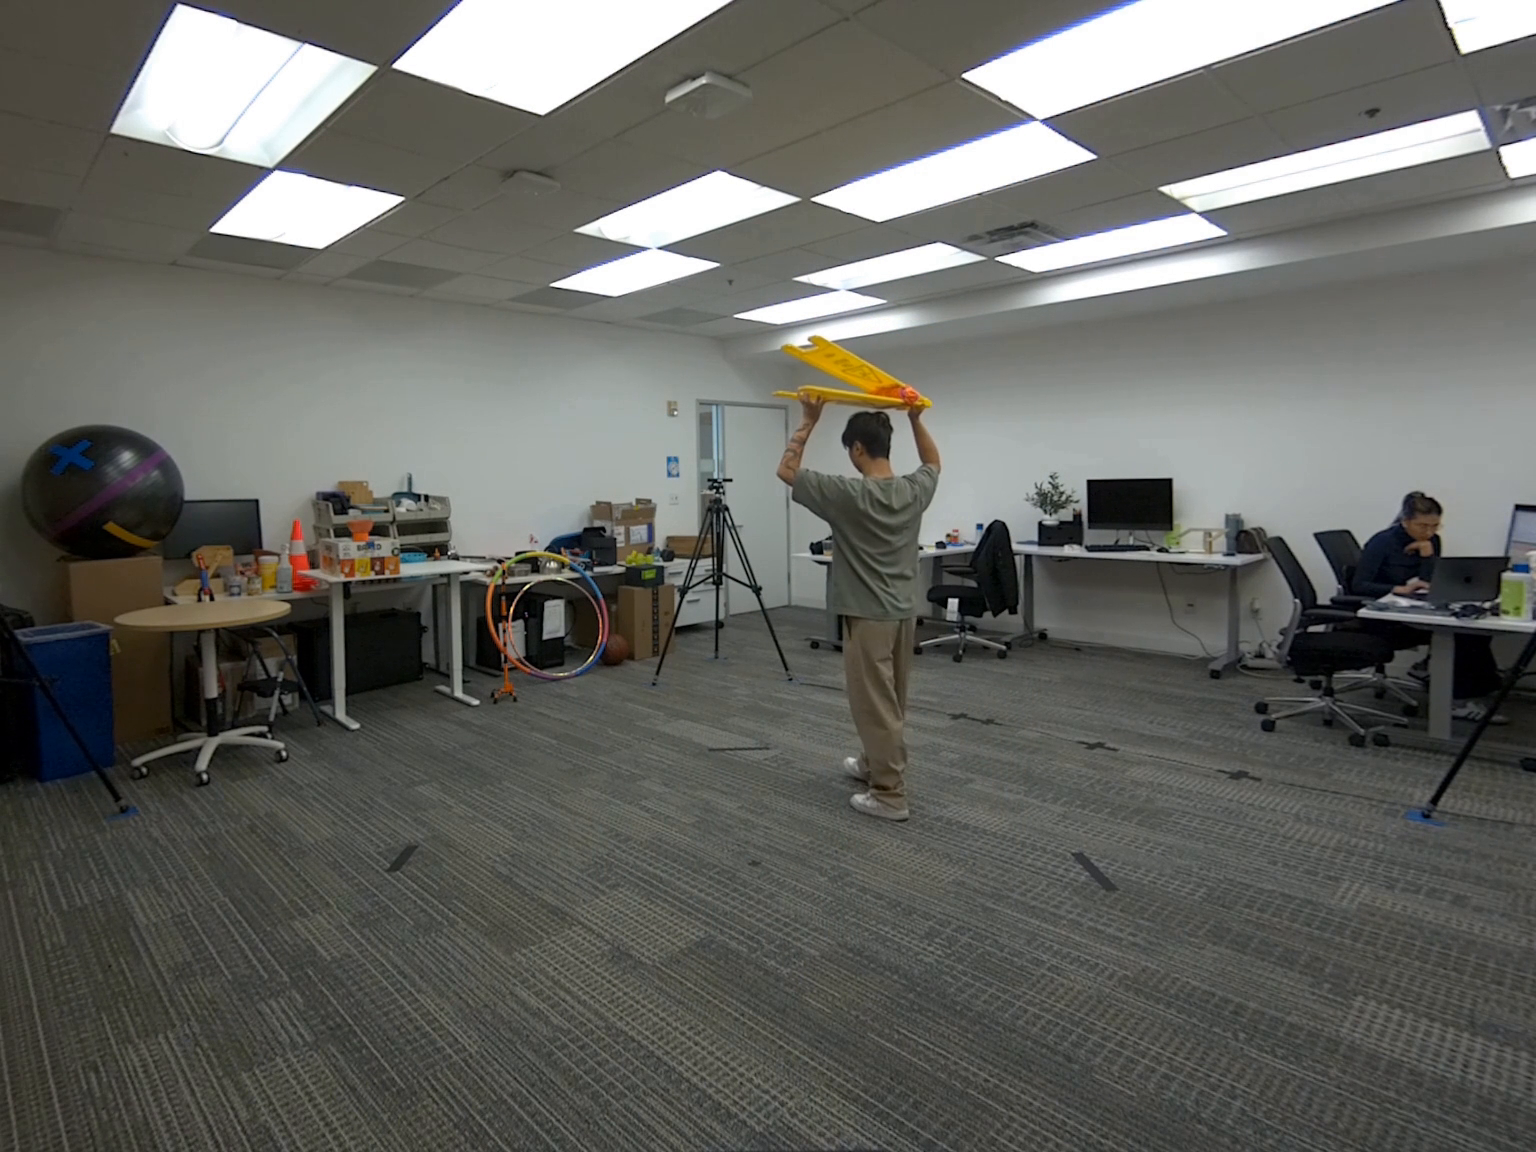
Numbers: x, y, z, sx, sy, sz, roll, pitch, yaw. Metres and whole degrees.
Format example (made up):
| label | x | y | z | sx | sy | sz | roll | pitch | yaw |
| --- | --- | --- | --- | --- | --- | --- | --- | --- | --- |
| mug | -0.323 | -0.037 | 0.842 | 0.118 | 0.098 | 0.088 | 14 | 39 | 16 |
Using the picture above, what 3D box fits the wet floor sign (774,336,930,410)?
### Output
| label | x | y | z | sx | sy | sz | roll | pitch | yaw |
| --- | --- | --- | --- | --- | --- | --- | --- | --- | --- |
| wet floor sign | 0.381 | -0.791 | 3.575 | 0.628 | 0.290 | 0.290 | 10 | -2 | -30 |
